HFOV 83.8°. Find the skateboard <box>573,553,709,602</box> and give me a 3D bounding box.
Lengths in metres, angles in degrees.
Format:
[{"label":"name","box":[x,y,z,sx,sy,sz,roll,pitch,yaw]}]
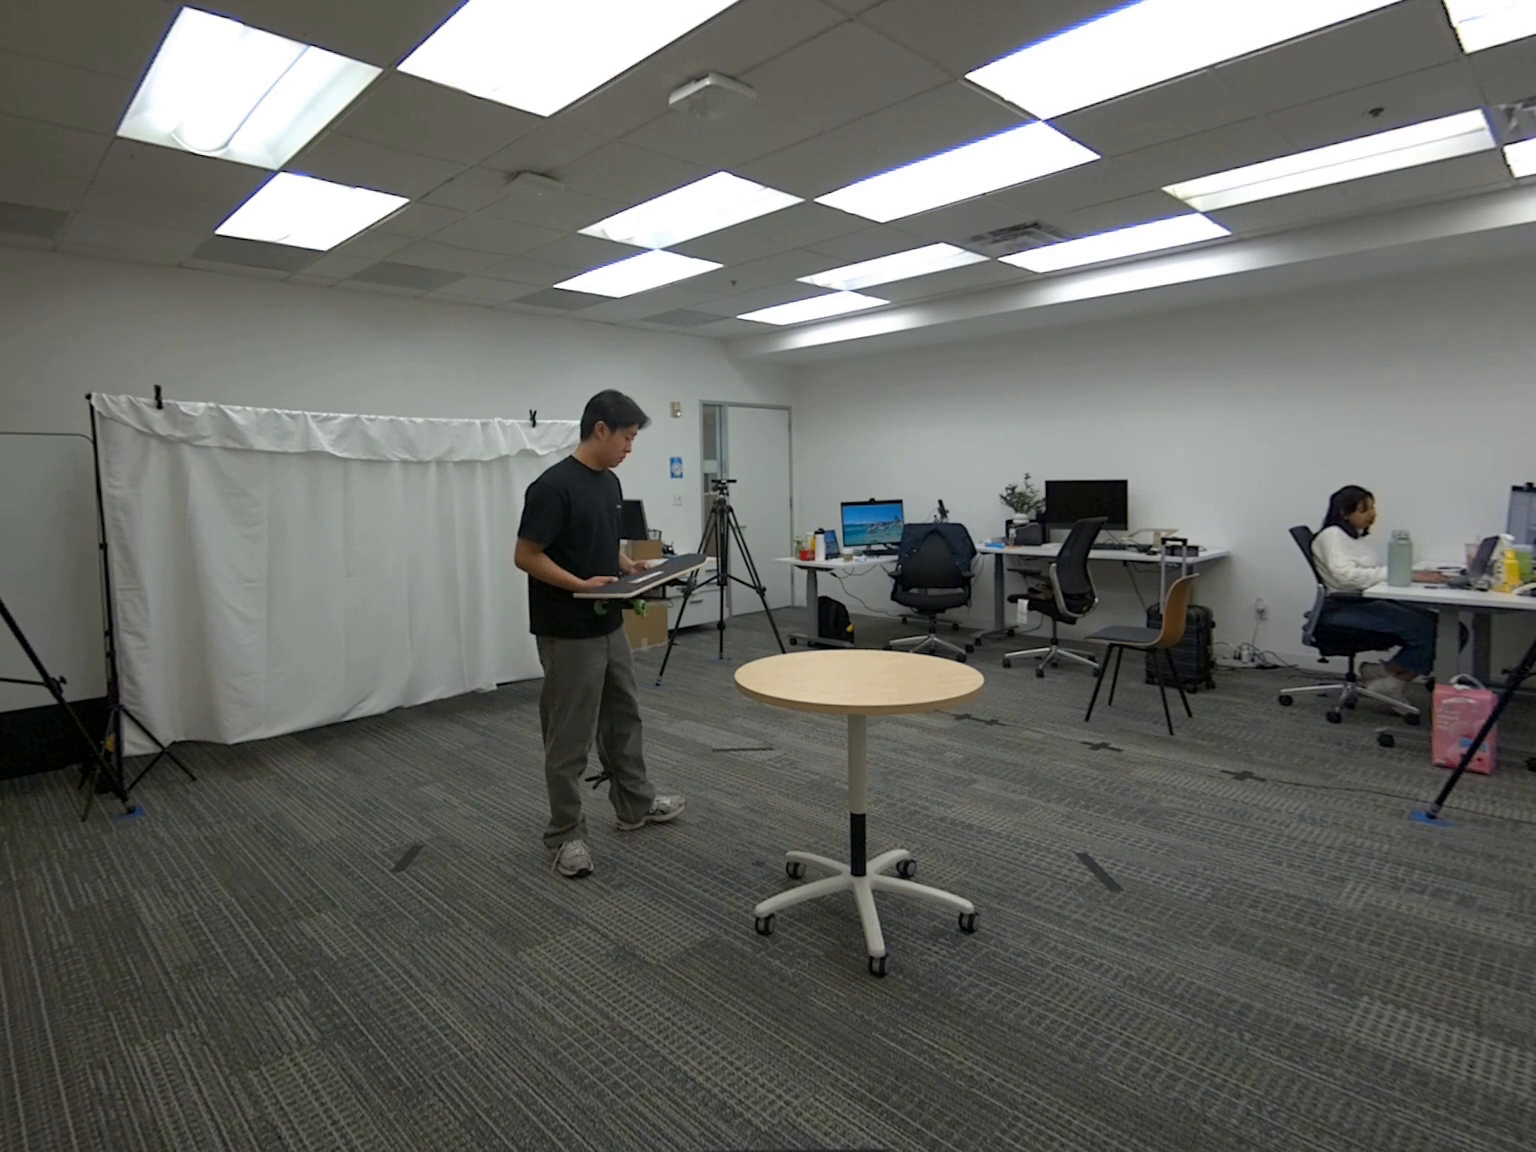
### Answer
[{"label":"skateboard","box":[-0.428,0.039,3.039,0.198,0.109,0.774,1,11,25]}]
